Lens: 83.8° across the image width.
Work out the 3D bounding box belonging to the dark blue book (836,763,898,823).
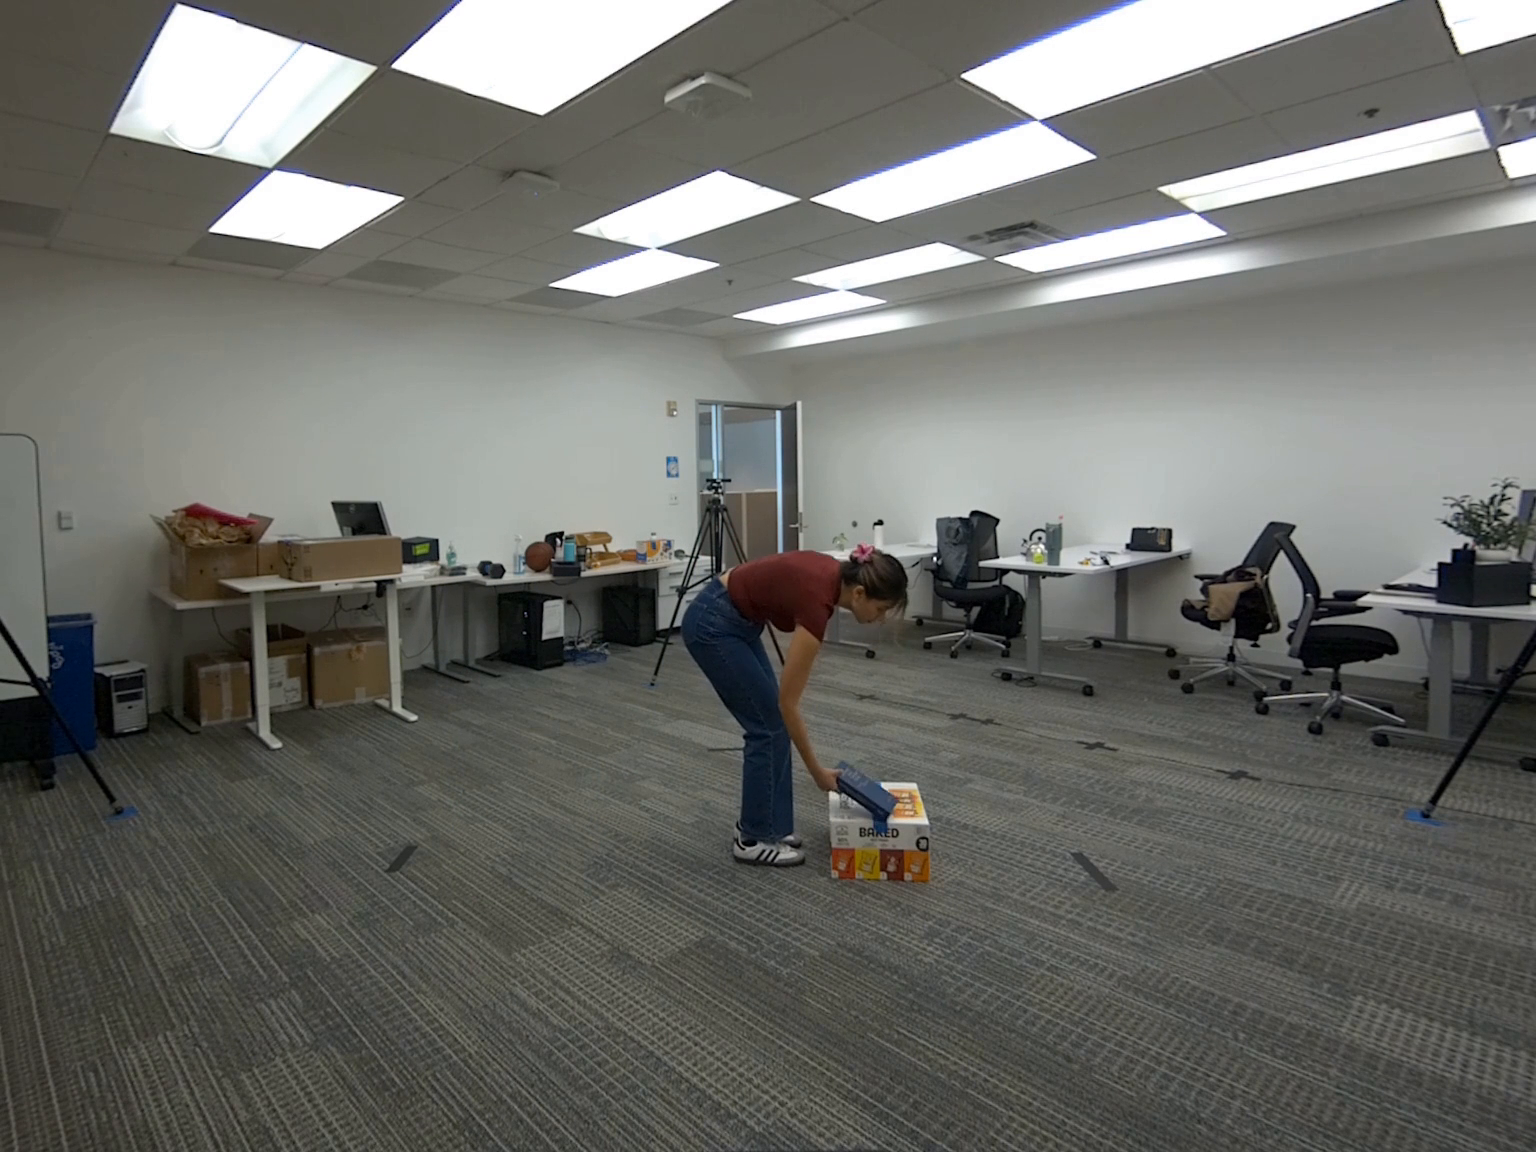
[{"bbox_3d":[0.332,0.747,3.056,0.251,0.045,0.160,31,10,17],"label":"dark blue book"}]
